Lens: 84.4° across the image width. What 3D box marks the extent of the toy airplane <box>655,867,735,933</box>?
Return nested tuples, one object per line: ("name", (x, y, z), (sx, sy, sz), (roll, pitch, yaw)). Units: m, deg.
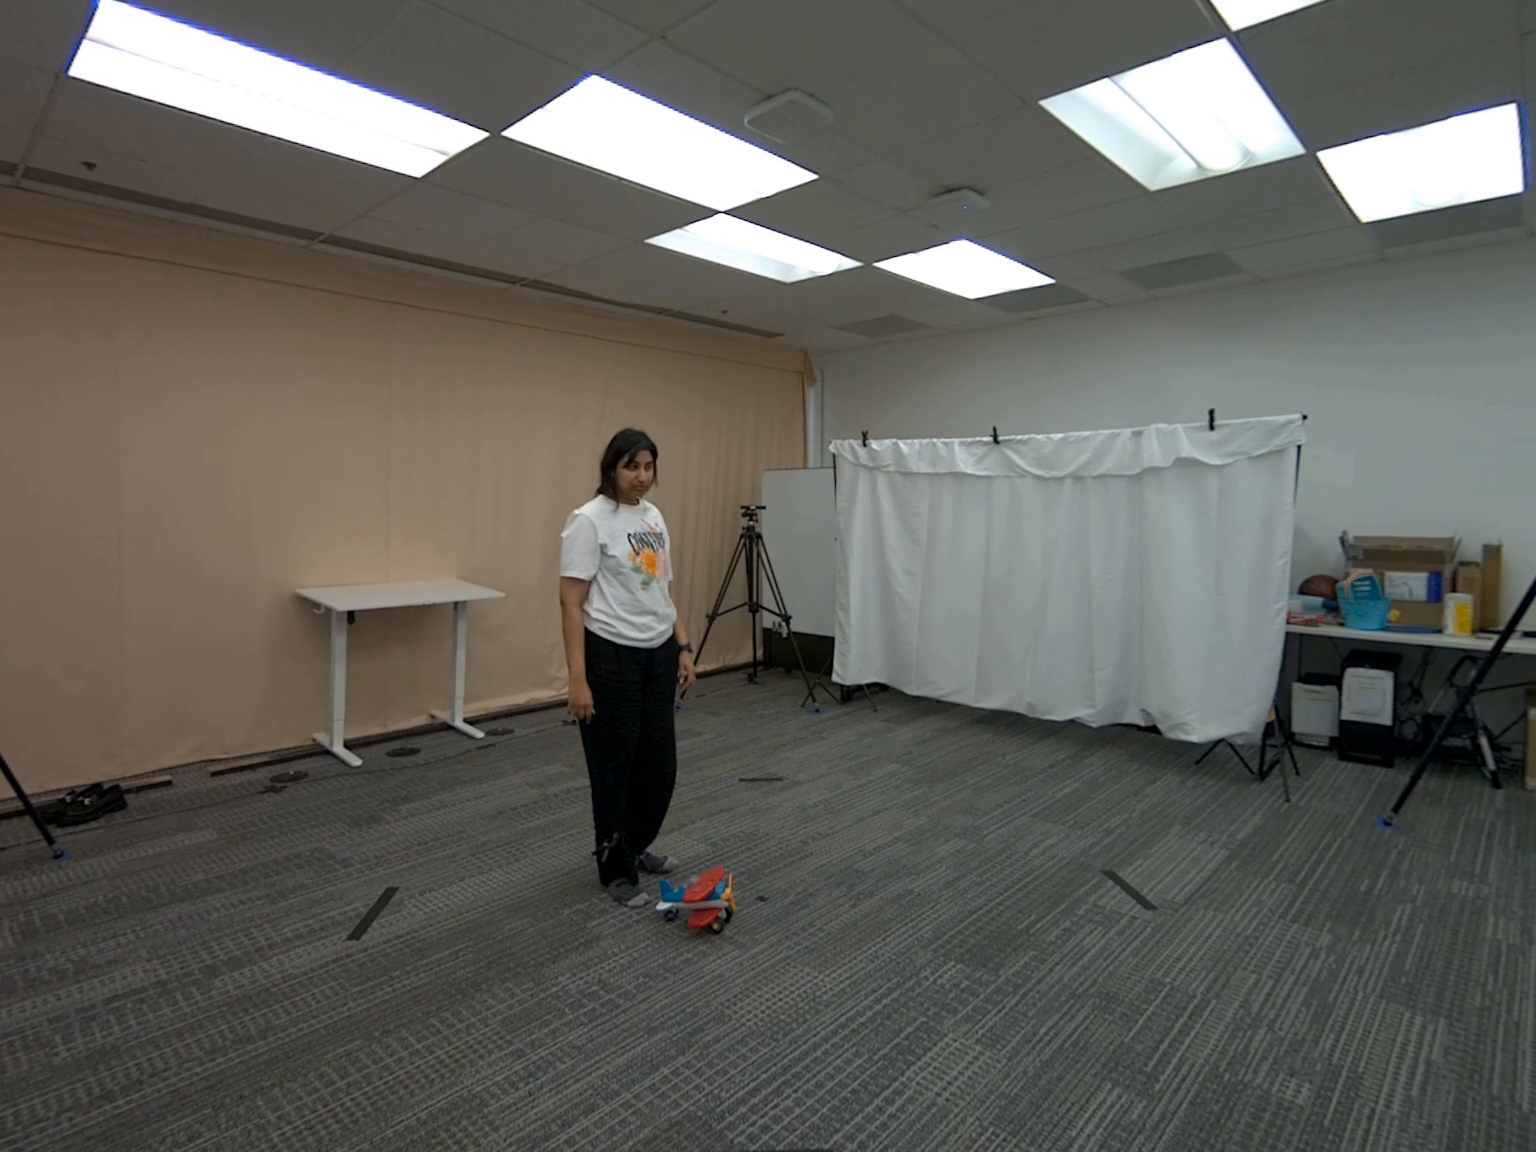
("toy airplane", (-0.240, 1.084, 2.784), (0.257, 0.156, 0.254), (0, 5, -9))
